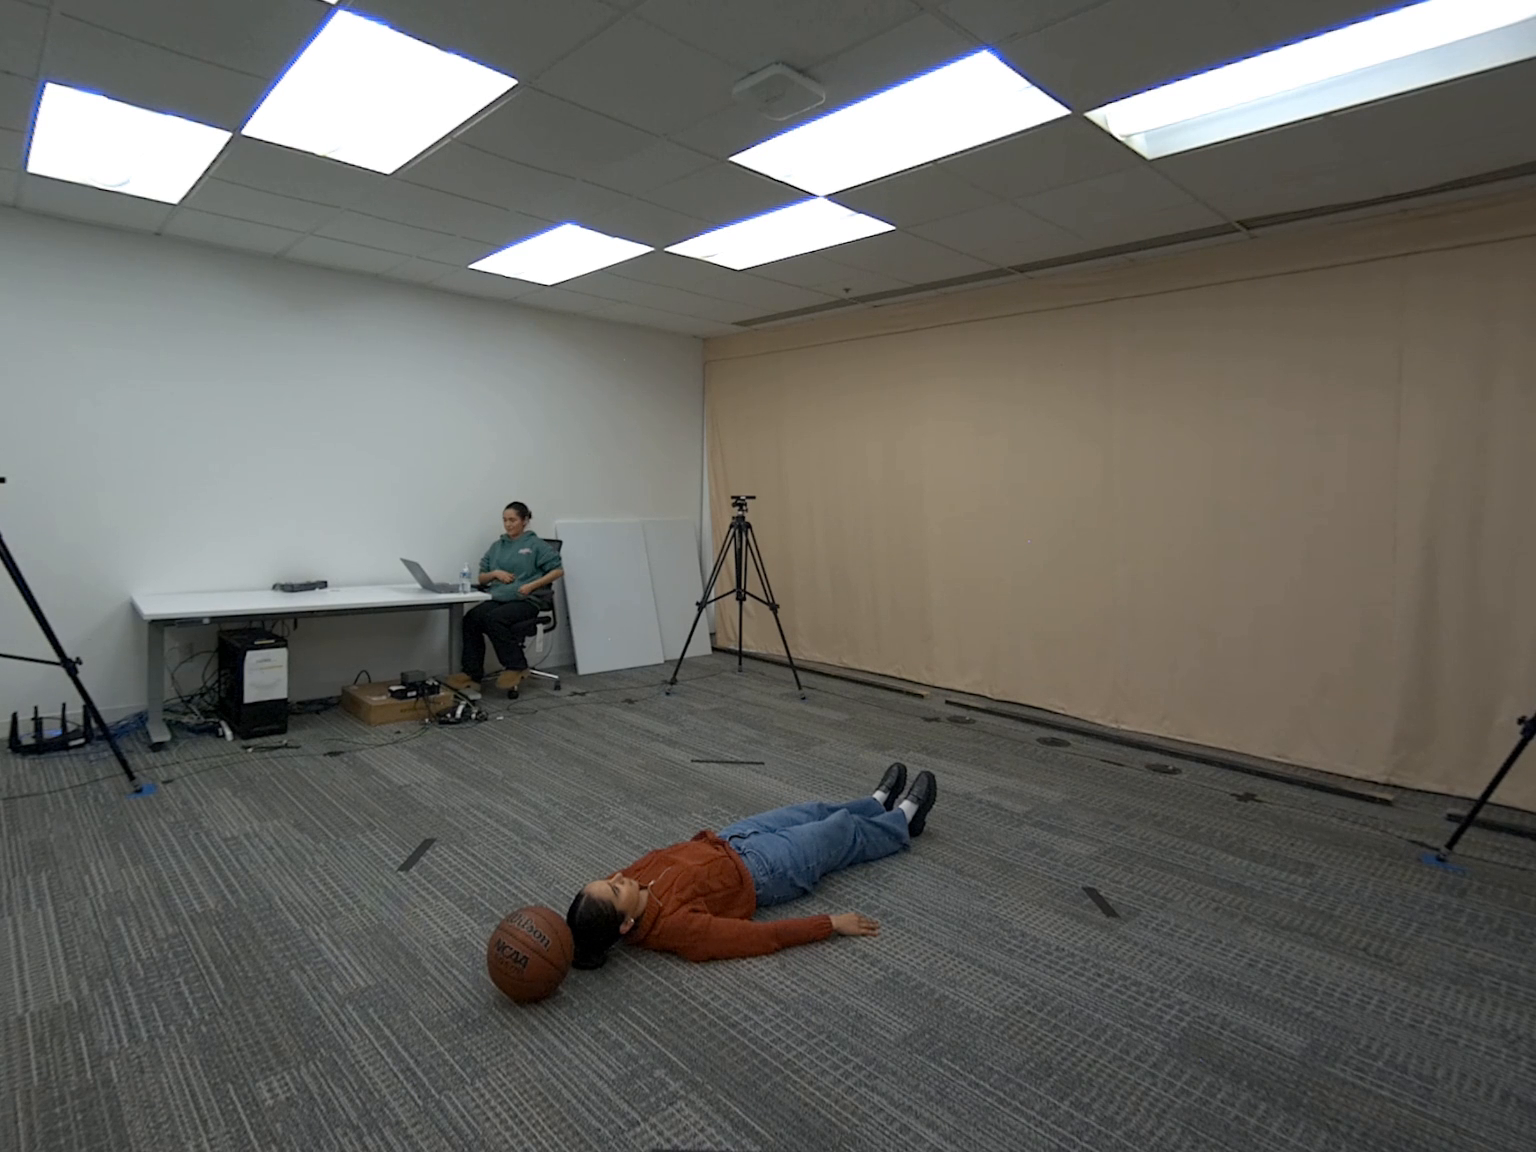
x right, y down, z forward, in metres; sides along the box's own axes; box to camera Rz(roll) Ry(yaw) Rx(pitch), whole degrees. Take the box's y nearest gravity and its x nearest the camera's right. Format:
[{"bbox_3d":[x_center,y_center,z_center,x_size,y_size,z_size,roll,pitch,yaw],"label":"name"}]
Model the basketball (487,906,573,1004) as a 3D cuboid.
[{"bbox_3d":[-0.660,1.043,2.337,0.236,0.234,0.237,0,8,-1],"label":"basketball"}]
